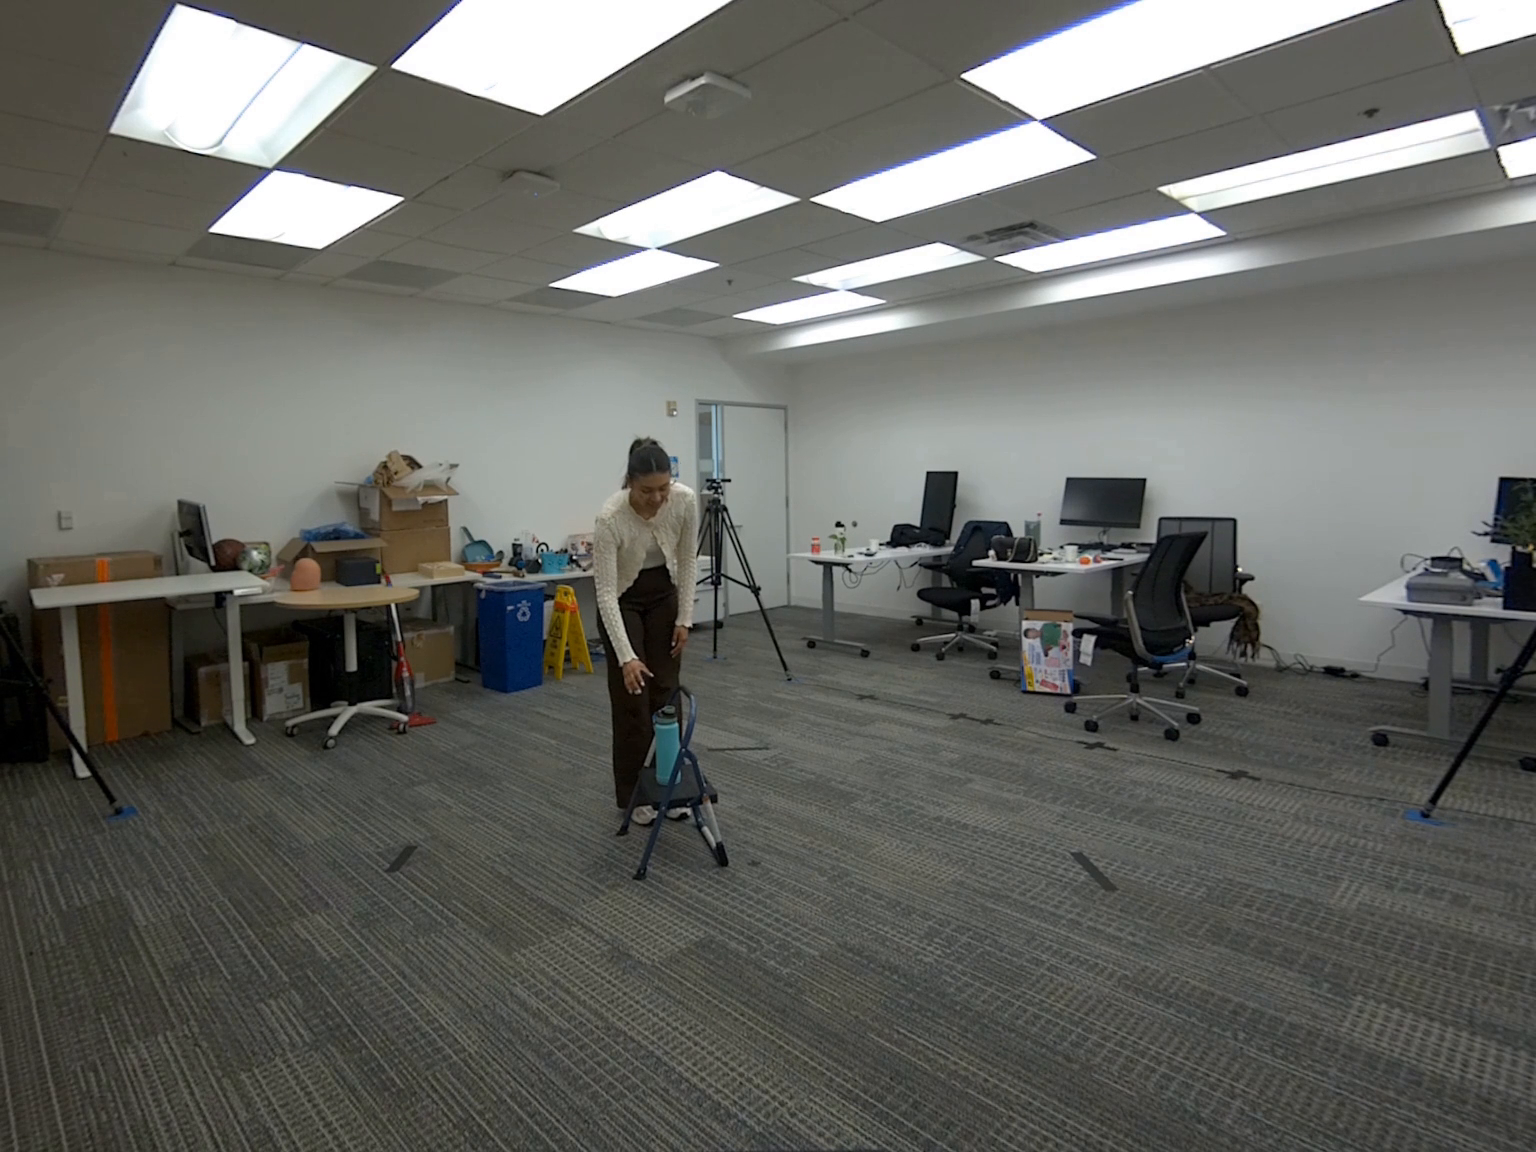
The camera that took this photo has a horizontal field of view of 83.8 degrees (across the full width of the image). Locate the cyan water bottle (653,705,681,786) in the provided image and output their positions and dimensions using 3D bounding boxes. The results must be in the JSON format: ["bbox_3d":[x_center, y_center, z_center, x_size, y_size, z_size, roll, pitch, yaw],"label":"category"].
[{"bbox_3d":[-0.384,0.638,3.216,0.092,0.282,0.093,-3,4,-1],"label":"cyan water bottle"}]
